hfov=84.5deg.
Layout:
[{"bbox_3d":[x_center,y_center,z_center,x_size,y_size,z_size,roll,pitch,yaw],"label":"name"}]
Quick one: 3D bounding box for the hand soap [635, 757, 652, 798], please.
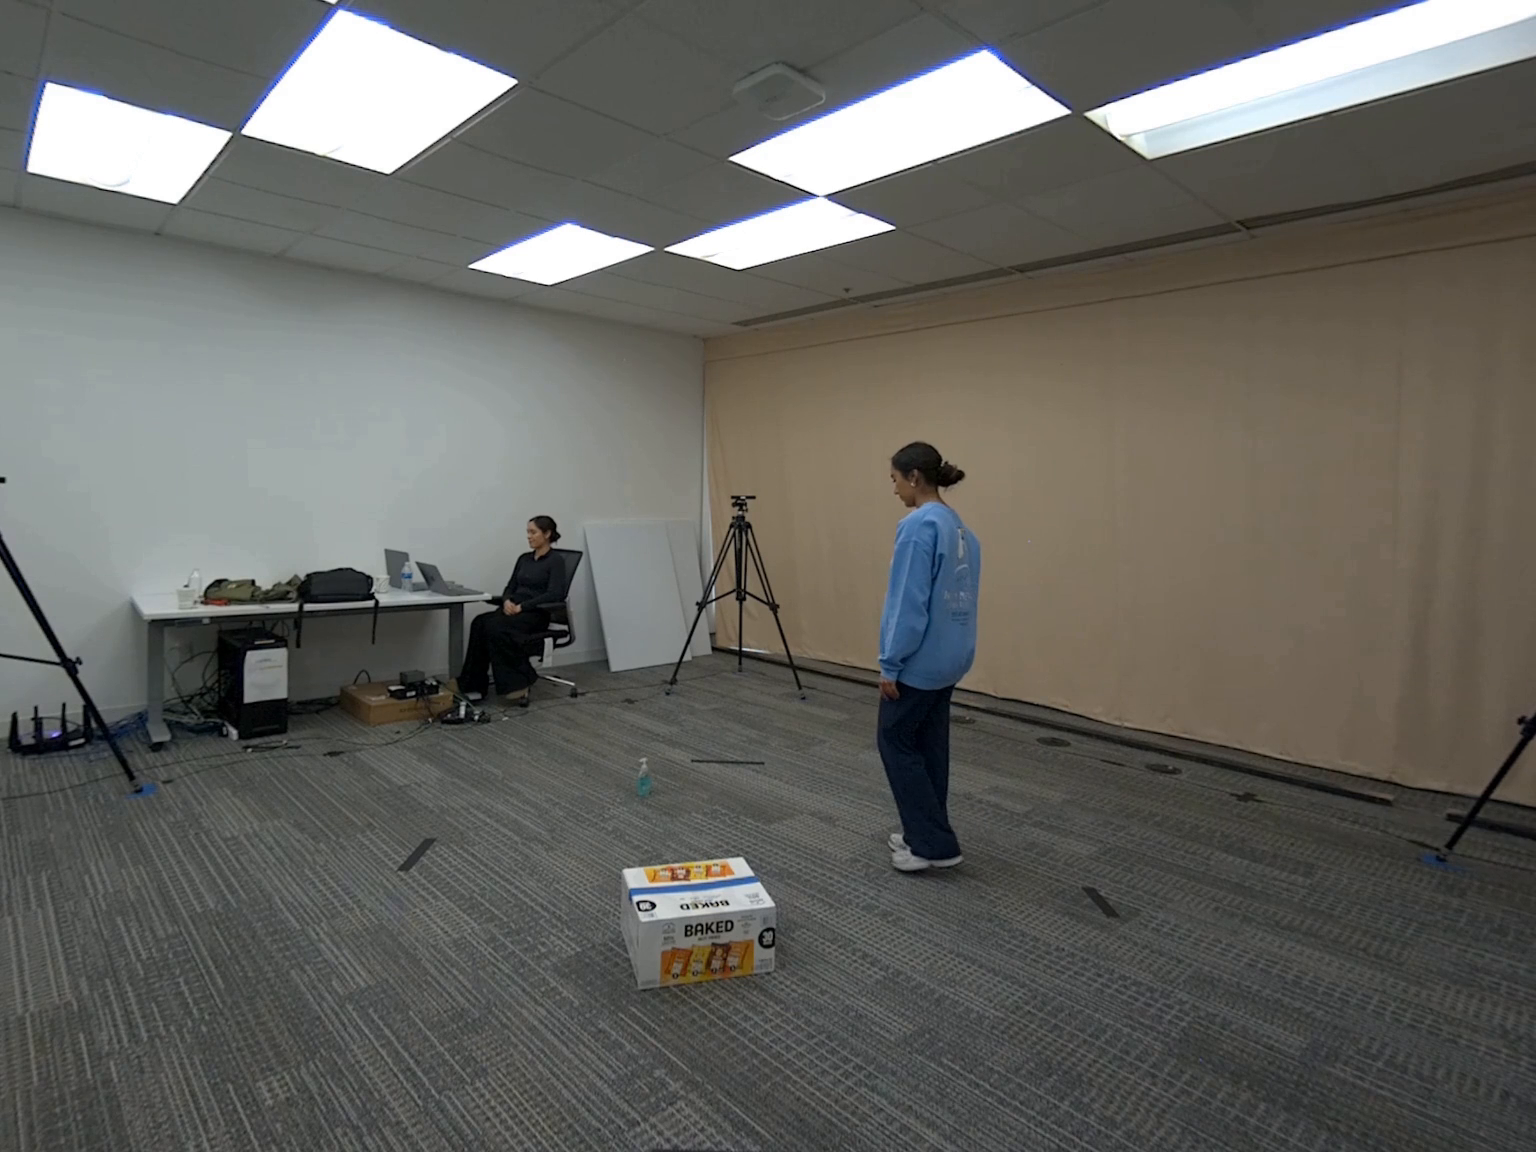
[{"bbox_3d":[-0.587,0.936,3.931,0.044,0.168,0.082,4,3,37],"label":"hand soap"}]
